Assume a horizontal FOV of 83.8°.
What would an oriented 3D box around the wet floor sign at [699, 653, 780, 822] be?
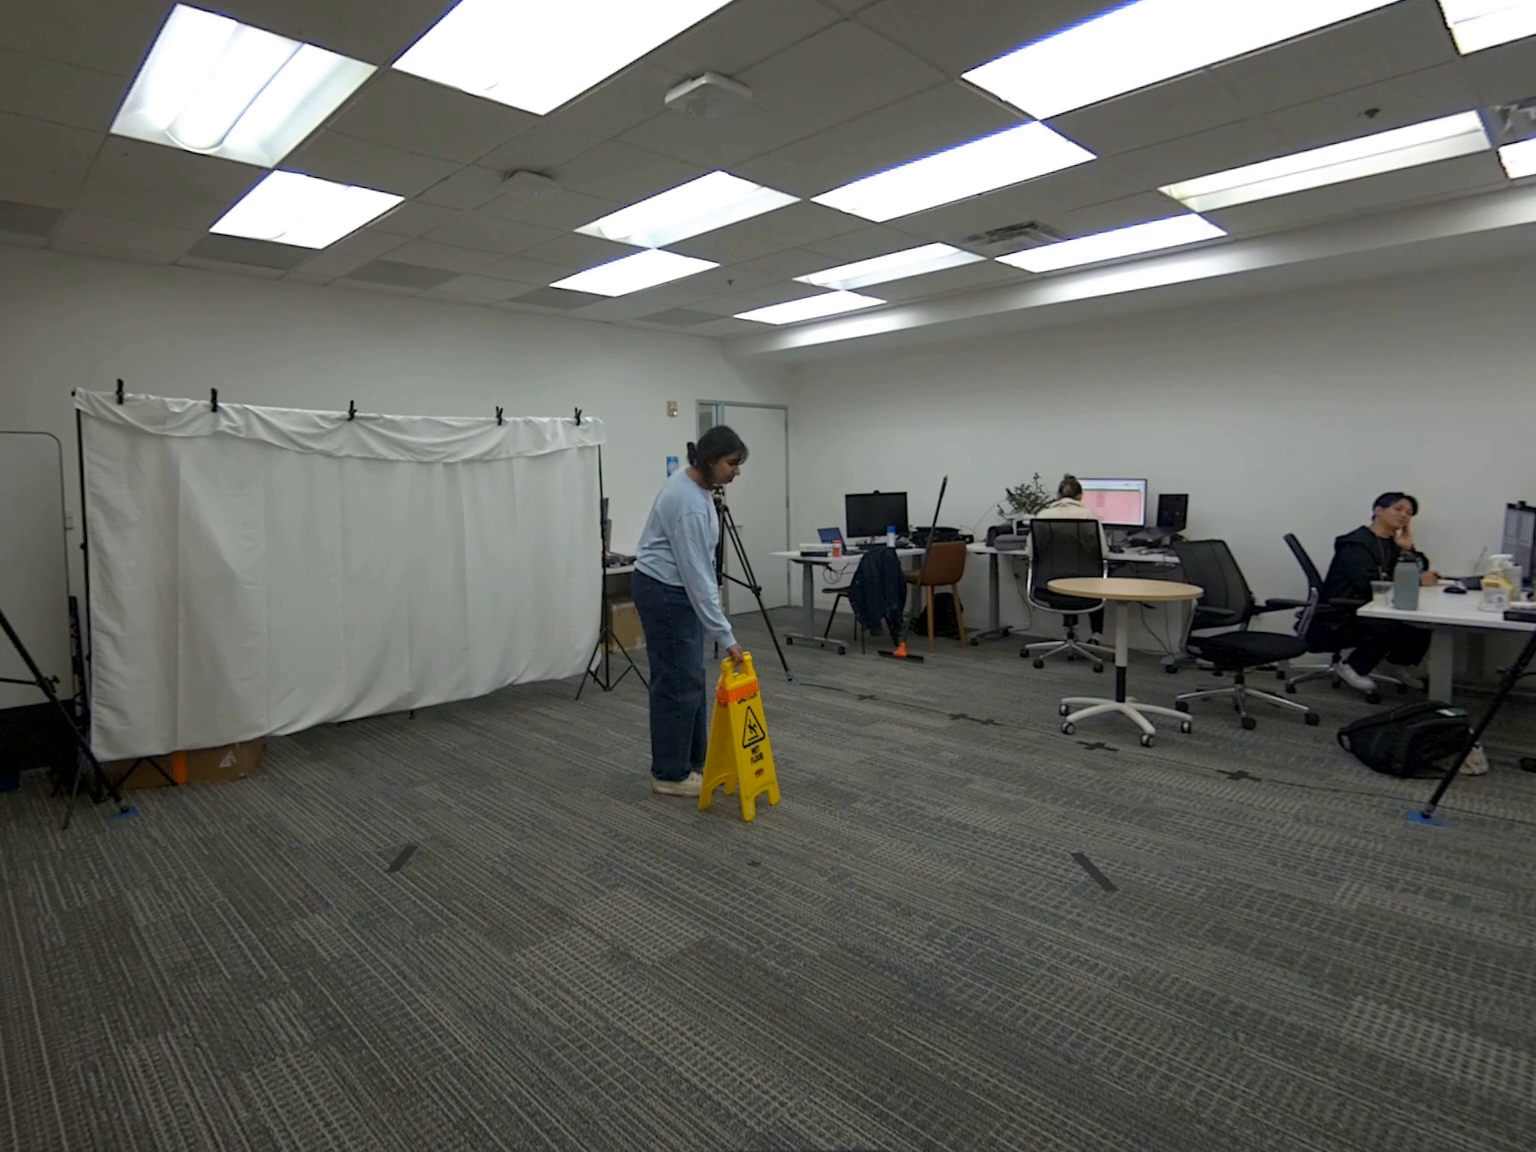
[{"bbox_3d":[-0.131,0.660,3.651,0.297,0.644,0.275,1,4,31],"label":"wet floor sign"}]
